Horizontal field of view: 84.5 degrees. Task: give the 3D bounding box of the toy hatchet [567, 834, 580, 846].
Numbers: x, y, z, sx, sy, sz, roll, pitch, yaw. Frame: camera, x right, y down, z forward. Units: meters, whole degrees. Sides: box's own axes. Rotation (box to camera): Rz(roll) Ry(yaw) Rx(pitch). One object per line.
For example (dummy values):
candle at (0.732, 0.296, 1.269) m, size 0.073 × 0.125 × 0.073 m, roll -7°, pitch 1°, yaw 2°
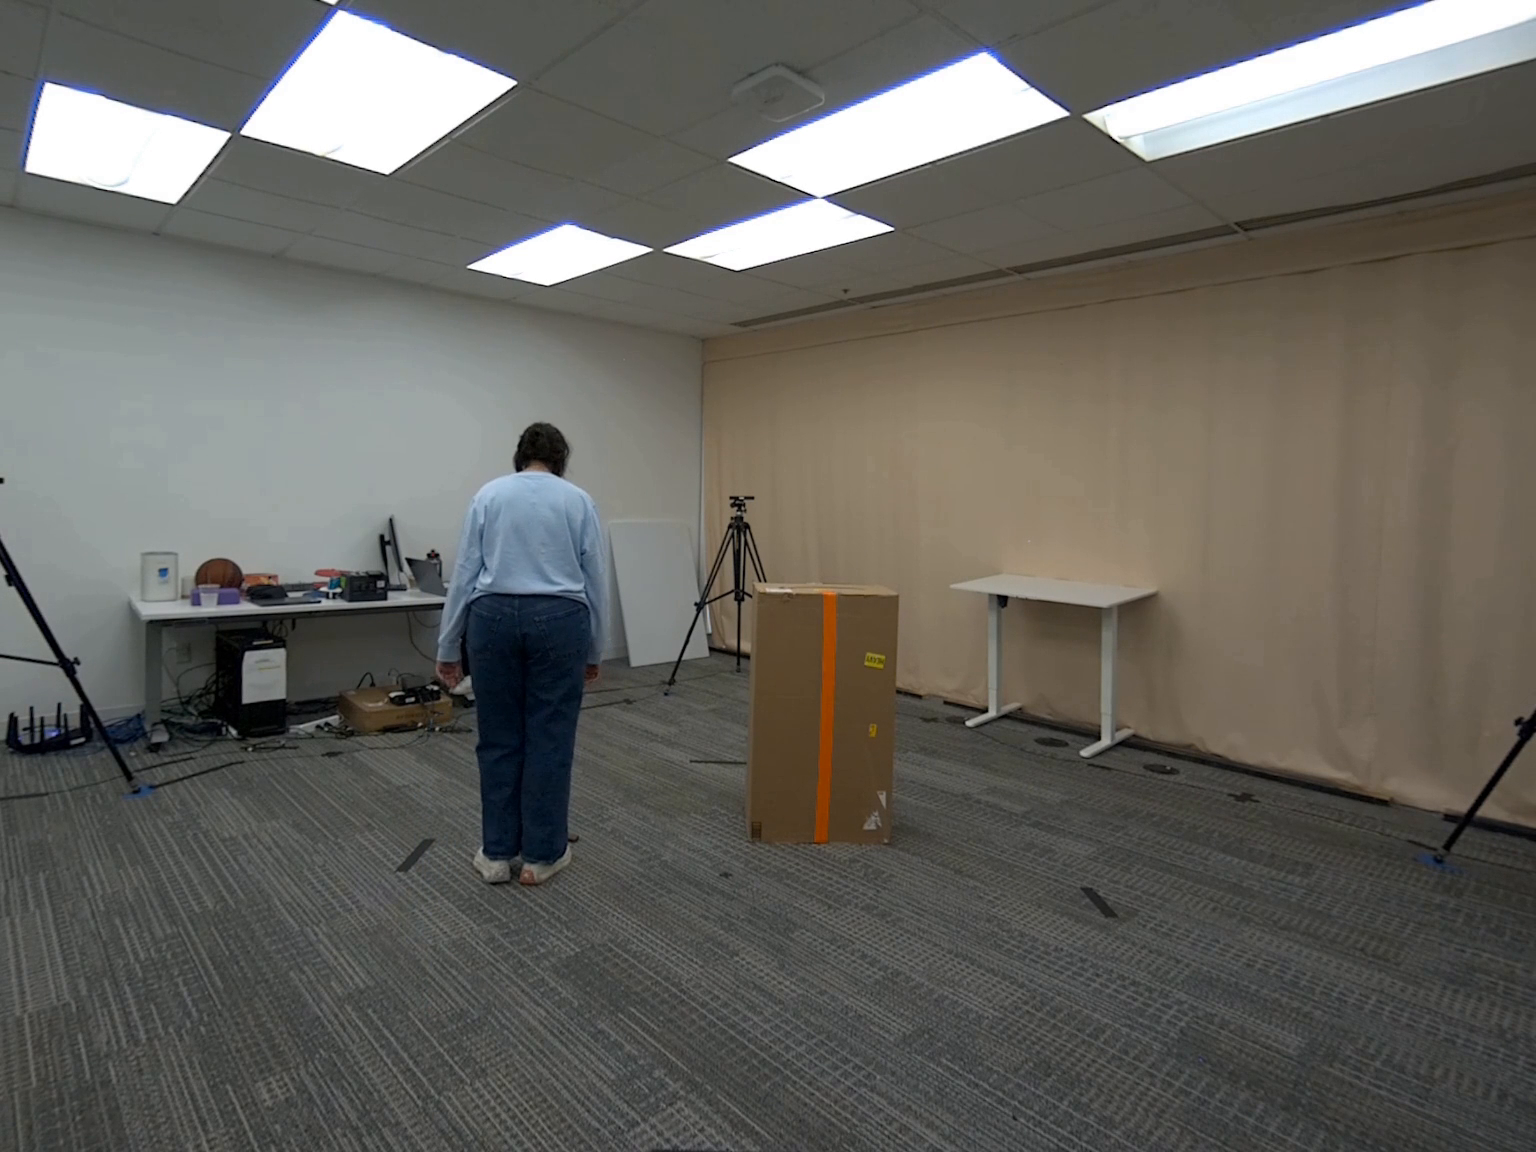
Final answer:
toy hatchet at (-0.902, 1.054, 3.352) m, size 0.272 × 0.029 × 0.130 m, roll 3°, pitch 4°, yaw 8°
